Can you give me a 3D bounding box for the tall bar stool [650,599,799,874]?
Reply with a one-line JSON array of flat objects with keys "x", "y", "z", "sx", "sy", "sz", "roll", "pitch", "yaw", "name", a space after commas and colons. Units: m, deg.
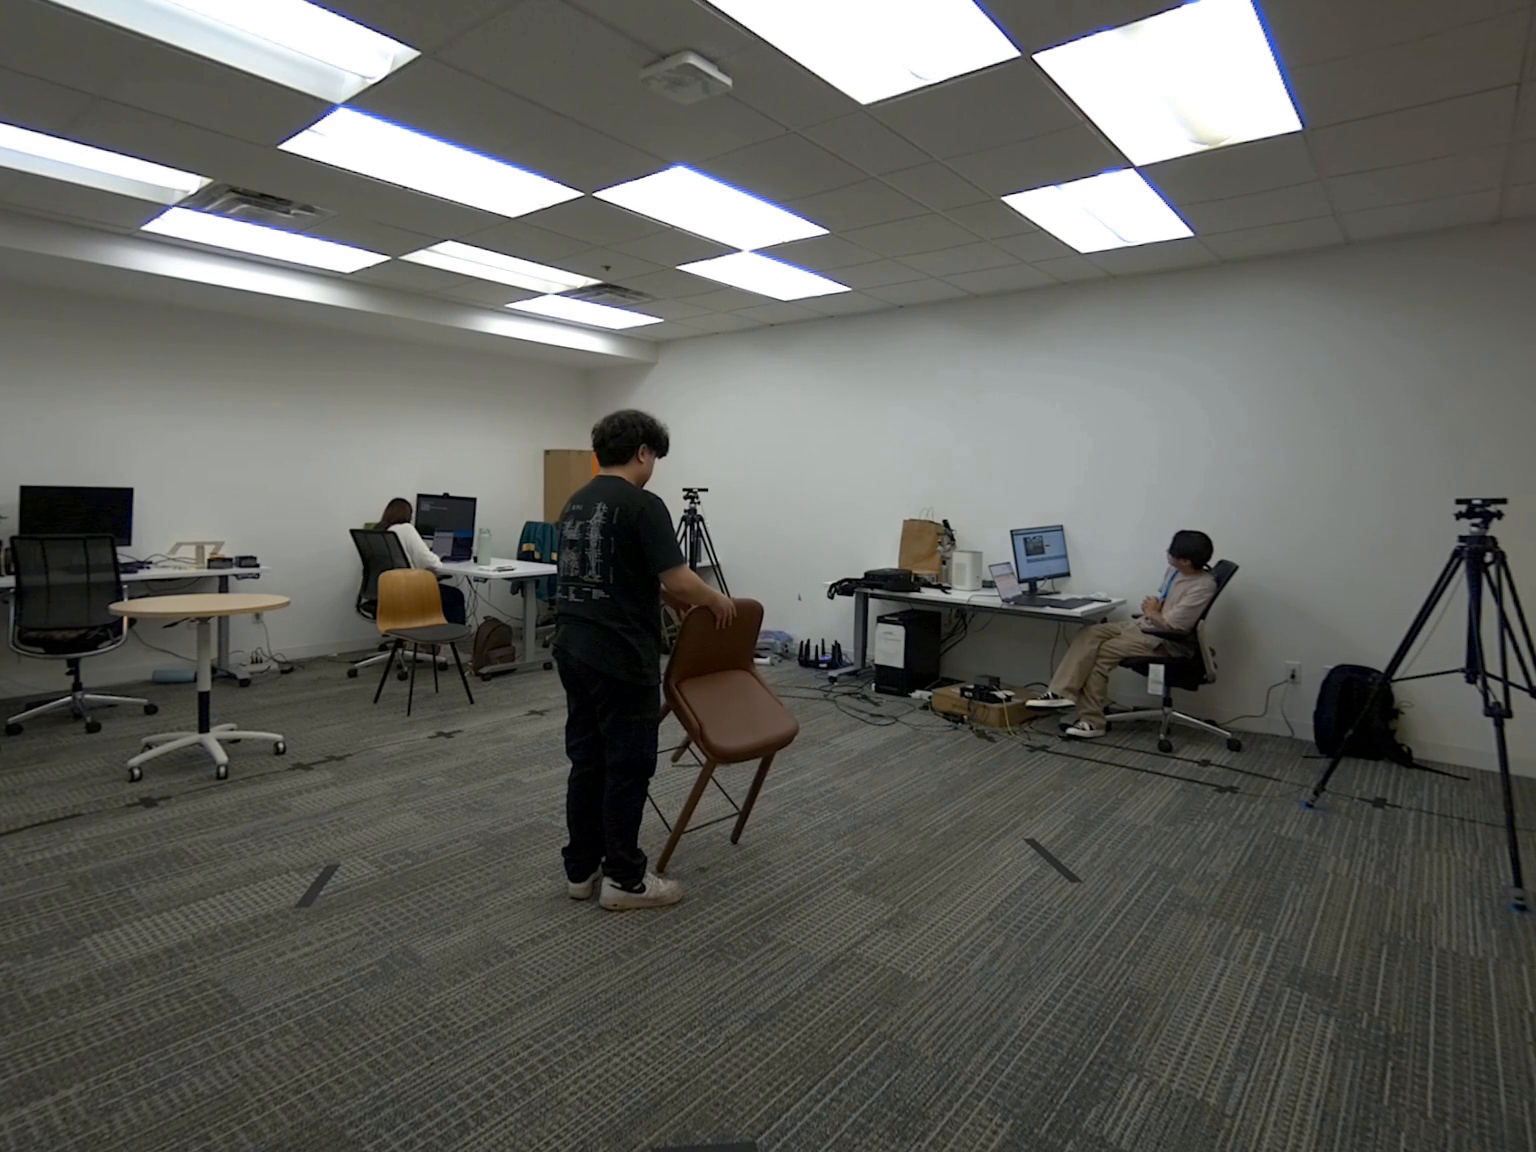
[{"x": -0.215, "y": 0.577, "z": 3.156, "sx": 0.442, "sy": 0.882, "sz": 0.487, "roll": -1, "pitch": 37, "yaw": -46, "name": "tall bar stool"}]
